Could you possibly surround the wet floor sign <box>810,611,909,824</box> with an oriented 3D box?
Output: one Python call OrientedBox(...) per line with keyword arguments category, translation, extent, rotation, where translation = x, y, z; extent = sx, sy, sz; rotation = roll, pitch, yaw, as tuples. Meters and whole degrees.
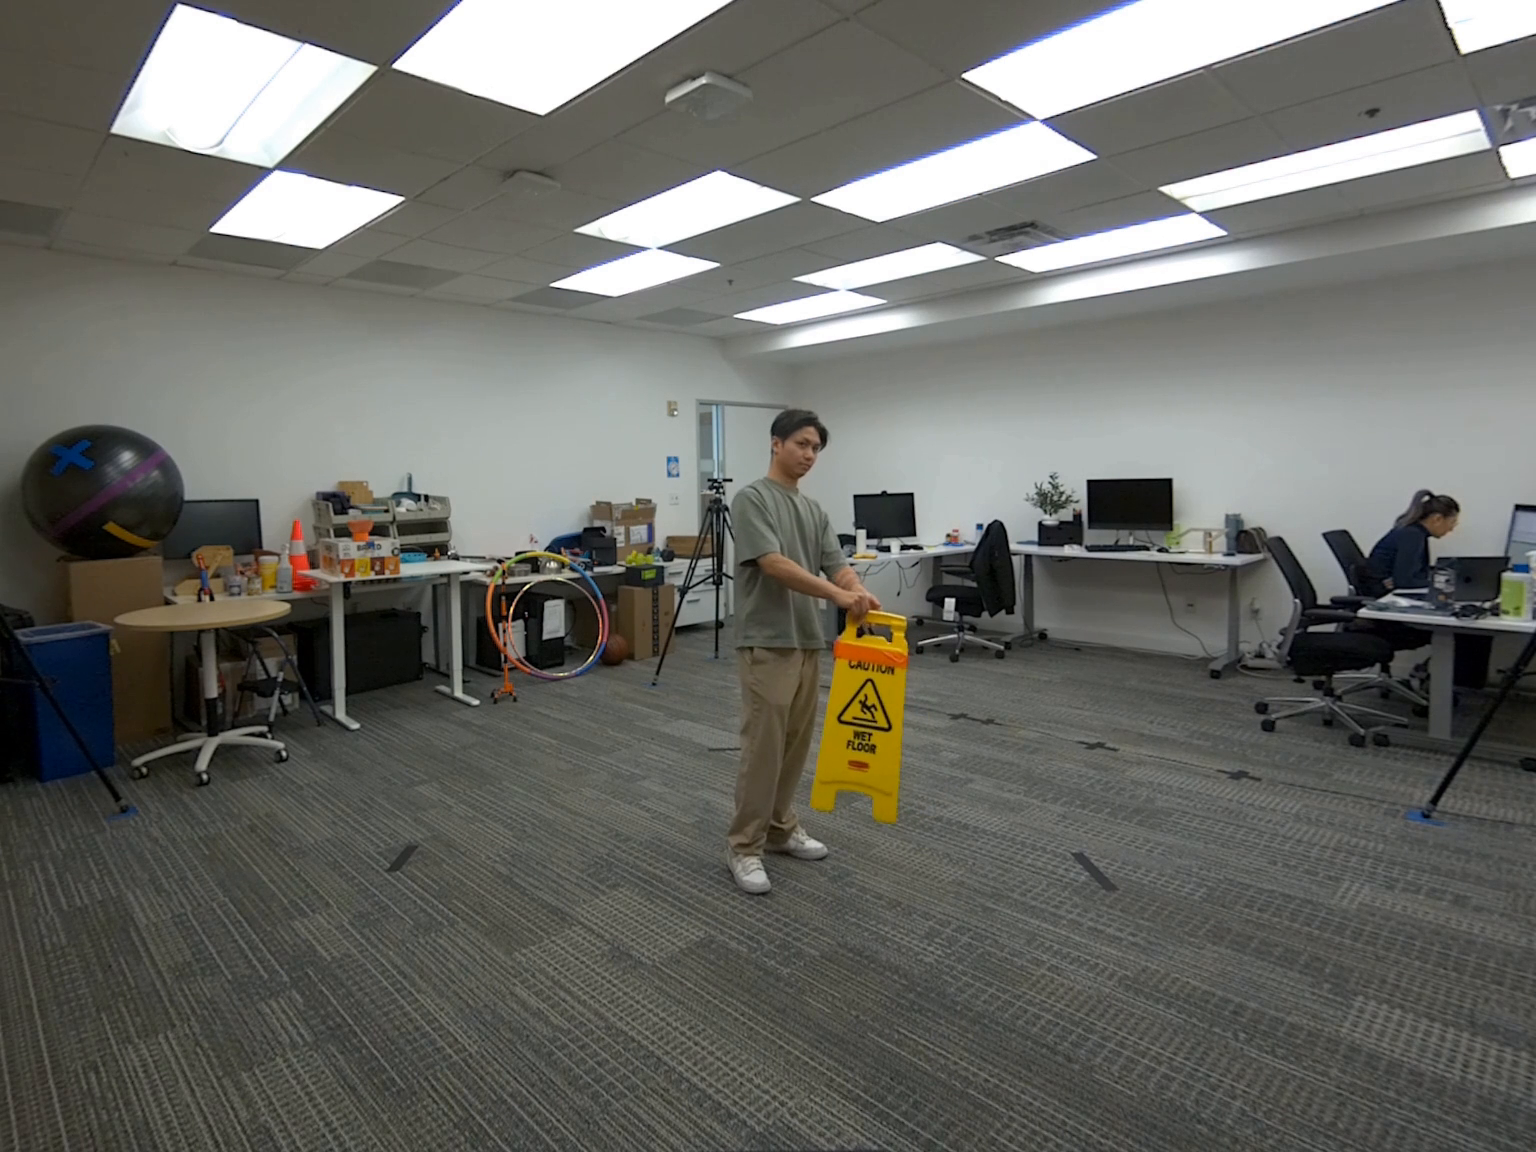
OrientedBox(category="wet floor sign", translation=(0.322, 0.451, 2.867), extent=(0.285, 0.644, 0.288), rotation=(4, 4, 9))
